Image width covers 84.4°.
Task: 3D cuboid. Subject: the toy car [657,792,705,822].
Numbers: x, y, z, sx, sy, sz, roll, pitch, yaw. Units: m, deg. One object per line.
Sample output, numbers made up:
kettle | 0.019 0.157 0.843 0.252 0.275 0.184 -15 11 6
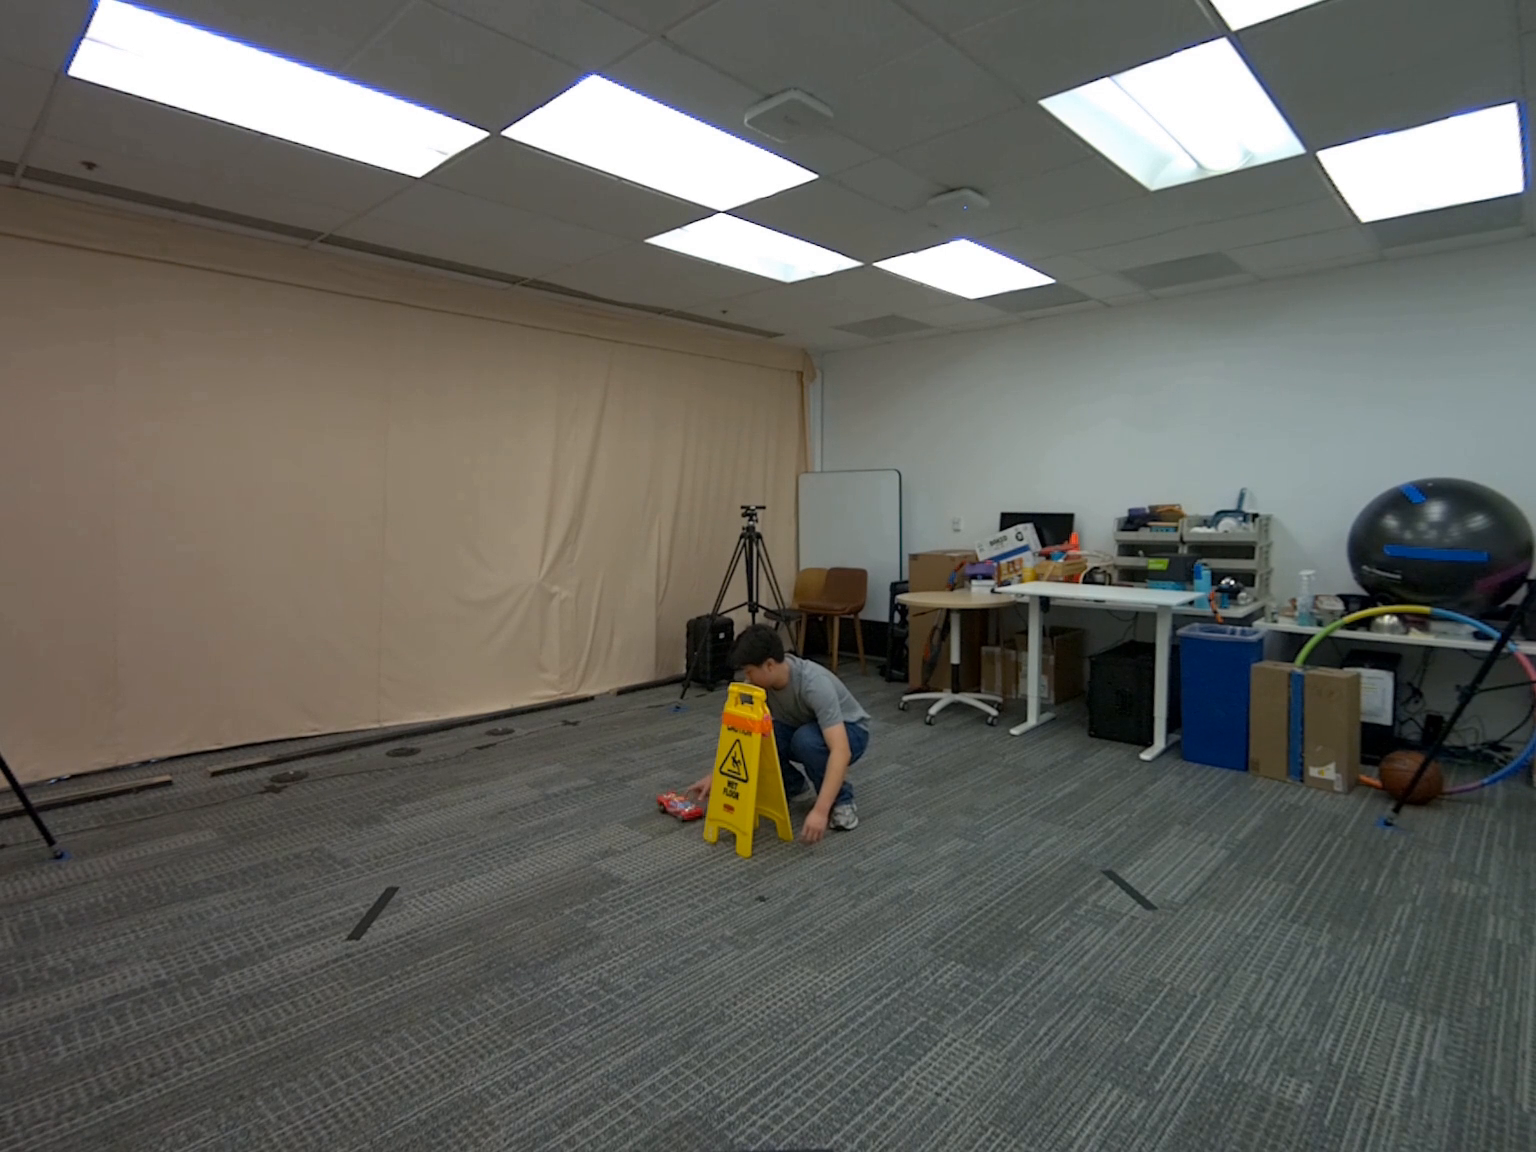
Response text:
toy car | -0.402 1.048 3.819 0.126 0.083 0.264 -3 17 -38
